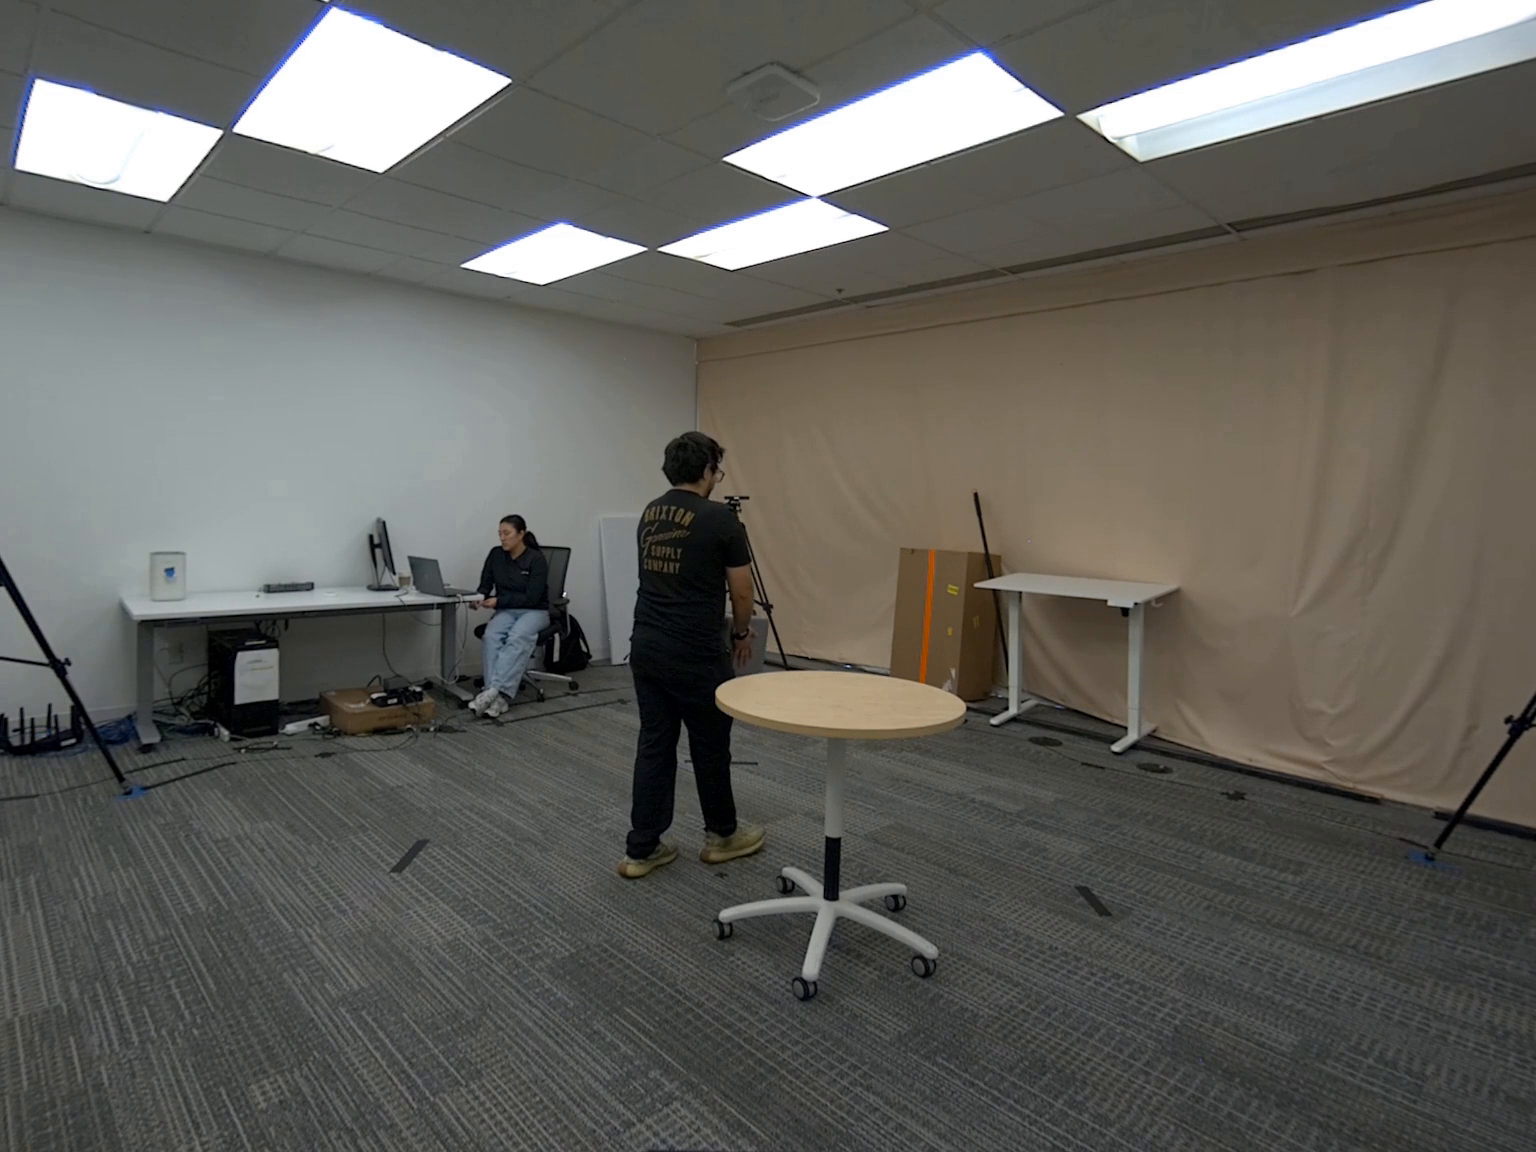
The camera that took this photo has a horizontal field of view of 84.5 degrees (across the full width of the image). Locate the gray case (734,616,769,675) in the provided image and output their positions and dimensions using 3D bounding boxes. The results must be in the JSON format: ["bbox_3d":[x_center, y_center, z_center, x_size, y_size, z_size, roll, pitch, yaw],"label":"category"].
[{"bbox_3d":[-0.119,0.276,3.416,0.107,0.260,0.250,9,3,43],"label":"gray case"}]
